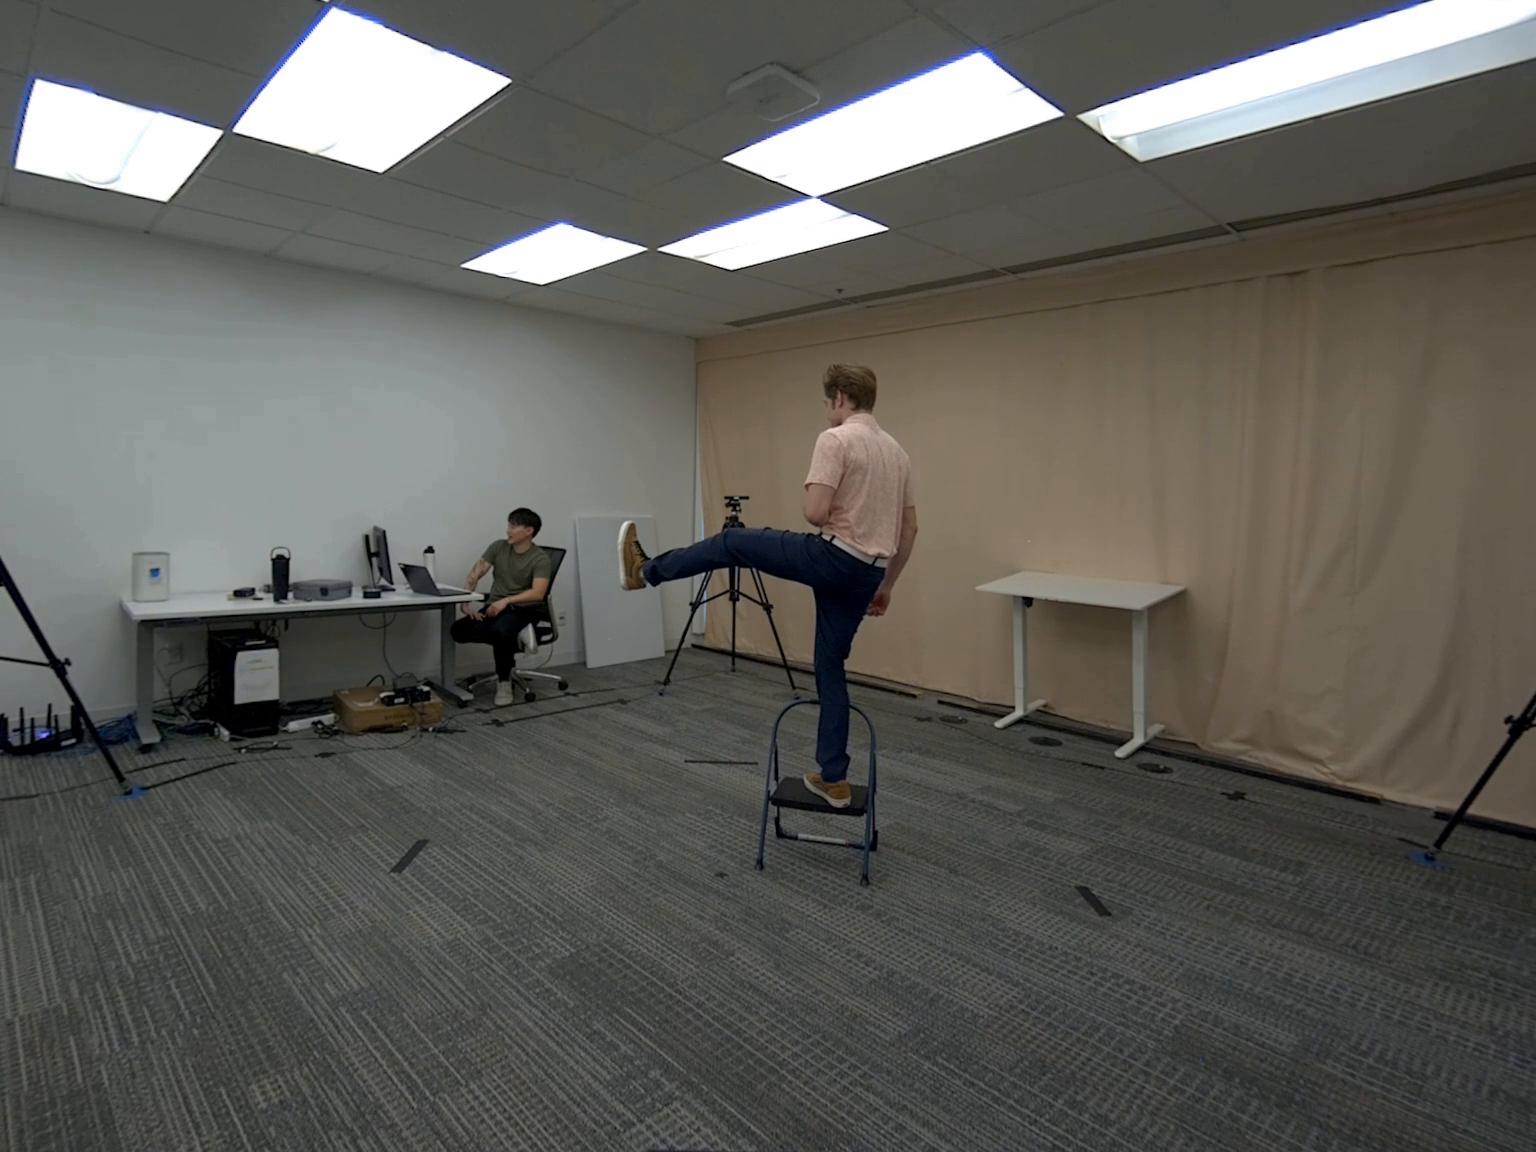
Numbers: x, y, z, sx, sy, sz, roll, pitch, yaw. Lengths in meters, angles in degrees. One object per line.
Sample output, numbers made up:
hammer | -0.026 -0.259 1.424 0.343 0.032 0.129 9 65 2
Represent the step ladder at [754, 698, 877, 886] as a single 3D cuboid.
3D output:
step ladder | 0.201 0.800 3.251 0.436 0.605 0.346 2 3 15
